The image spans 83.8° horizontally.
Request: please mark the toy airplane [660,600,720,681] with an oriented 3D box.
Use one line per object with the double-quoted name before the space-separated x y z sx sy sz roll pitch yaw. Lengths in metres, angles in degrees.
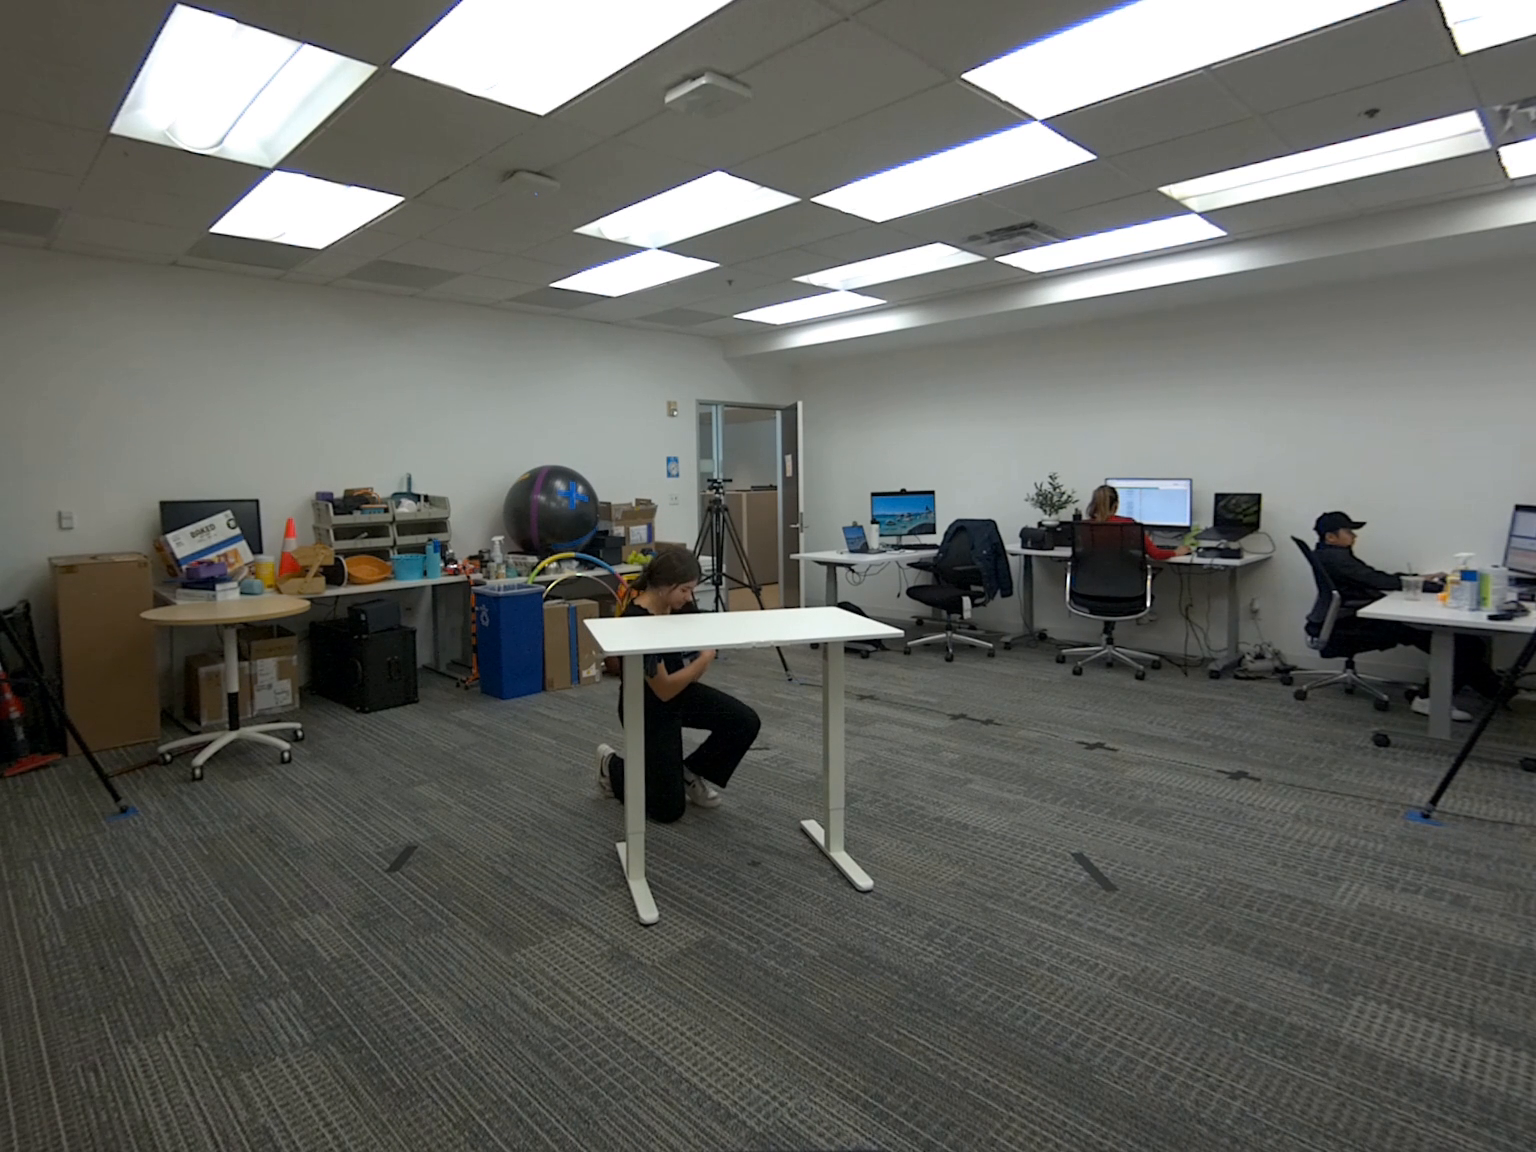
"toy airplane" -0.340 0.289 3.675 0.155 0.259 0.254 -22 -27 -17
